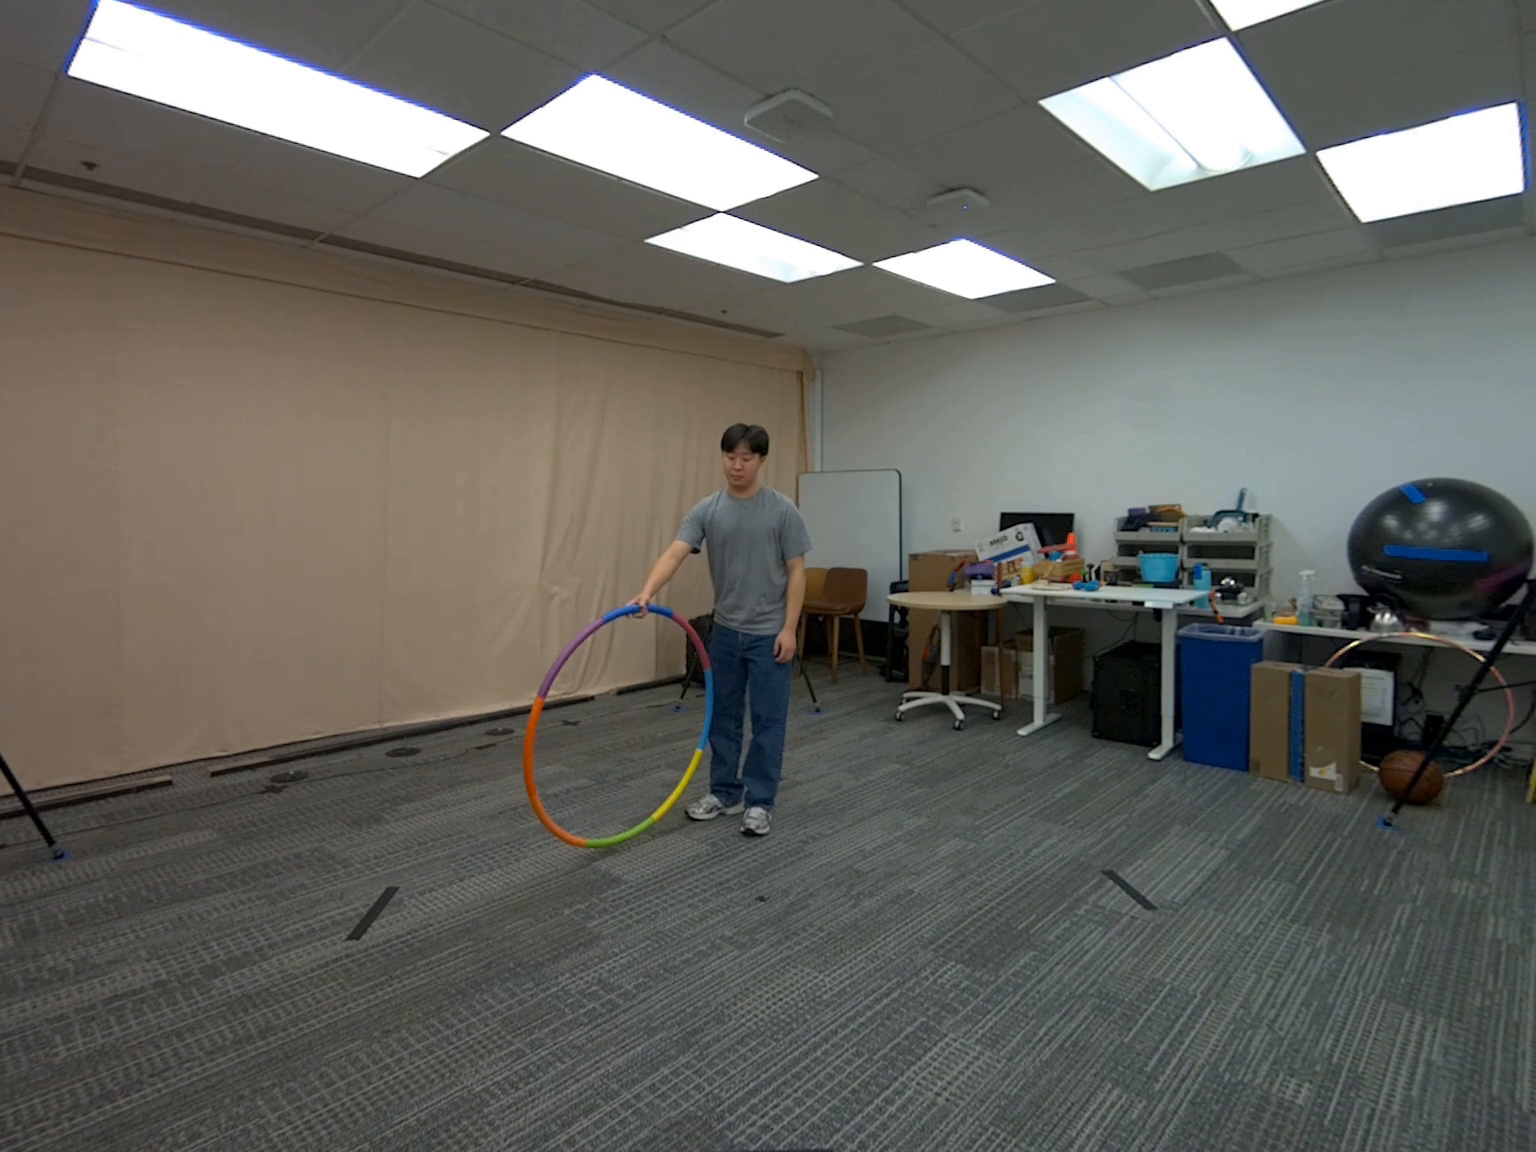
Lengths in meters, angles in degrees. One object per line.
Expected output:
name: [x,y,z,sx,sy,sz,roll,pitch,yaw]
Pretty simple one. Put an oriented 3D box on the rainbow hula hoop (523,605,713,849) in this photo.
rainbow hula hoop: [-0.570,0.607,3.379,0.037,0.974,0.949,11,10,39]
